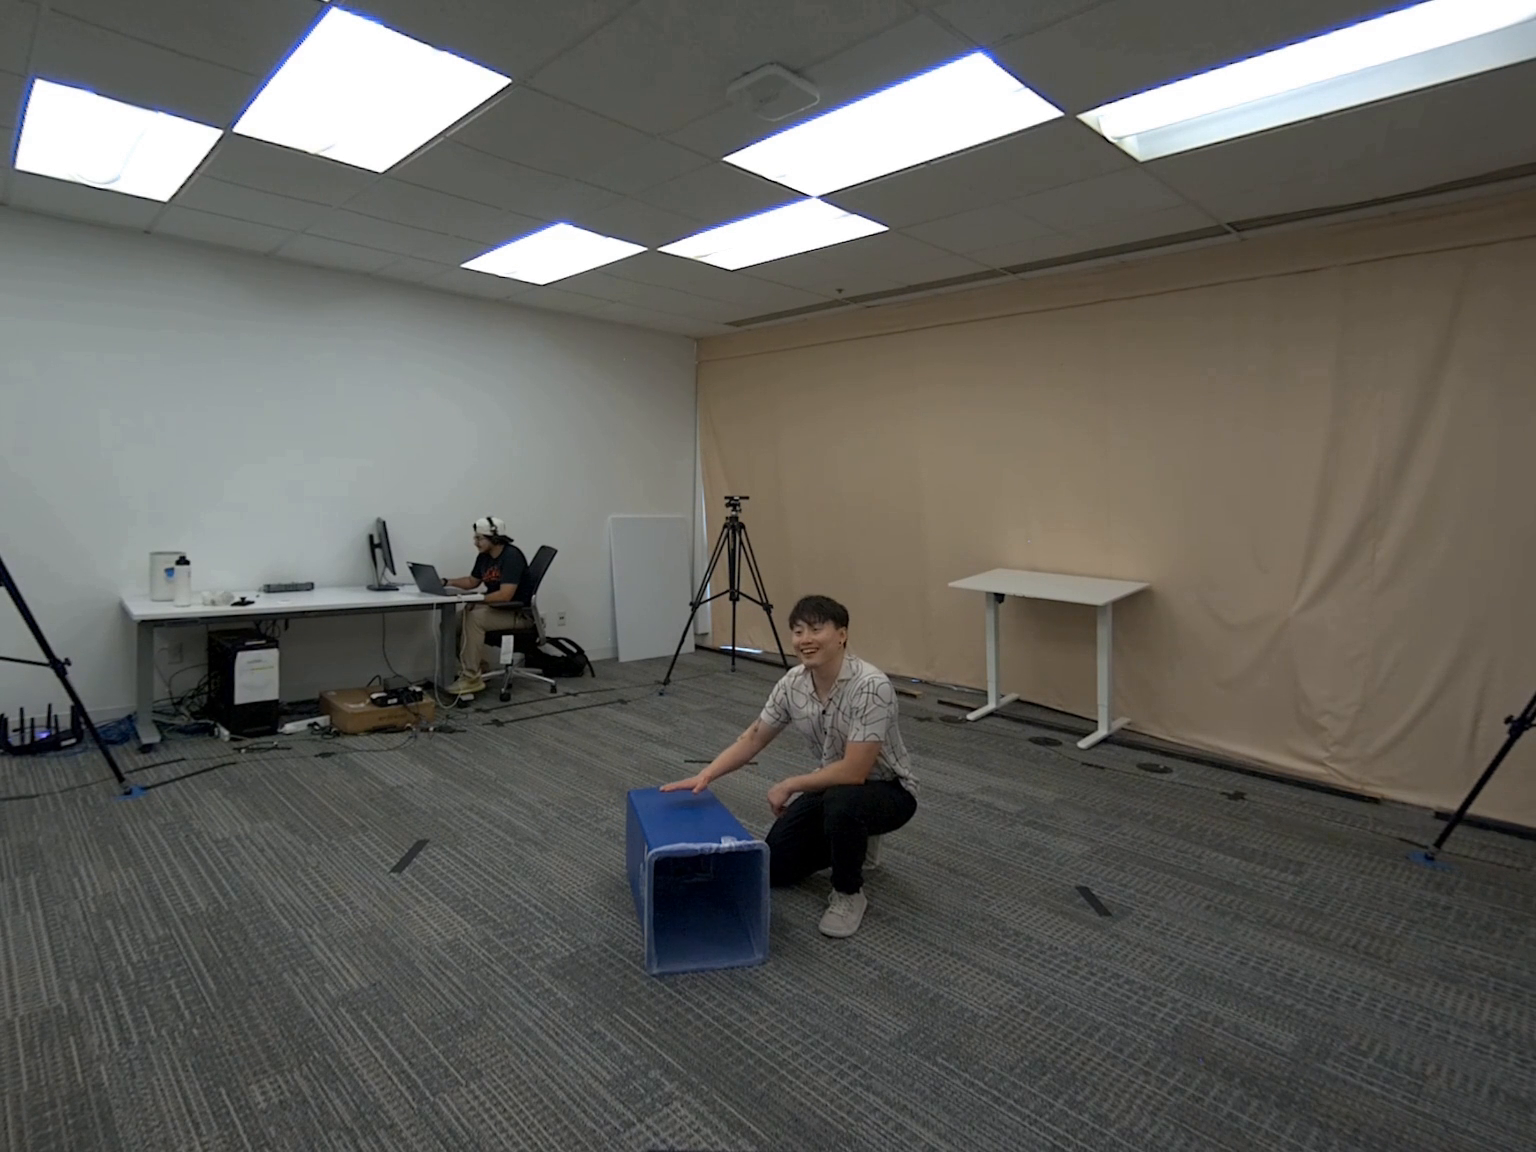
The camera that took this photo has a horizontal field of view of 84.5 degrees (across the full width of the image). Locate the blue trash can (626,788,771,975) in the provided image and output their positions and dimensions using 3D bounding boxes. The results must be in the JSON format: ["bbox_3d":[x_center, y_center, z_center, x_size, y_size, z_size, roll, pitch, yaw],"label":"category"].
[{"bbox_3d":[-0.273,0.959,2.809,0.373,0.374,0.722,1,1,-16],"label":"blue trash can"}]
